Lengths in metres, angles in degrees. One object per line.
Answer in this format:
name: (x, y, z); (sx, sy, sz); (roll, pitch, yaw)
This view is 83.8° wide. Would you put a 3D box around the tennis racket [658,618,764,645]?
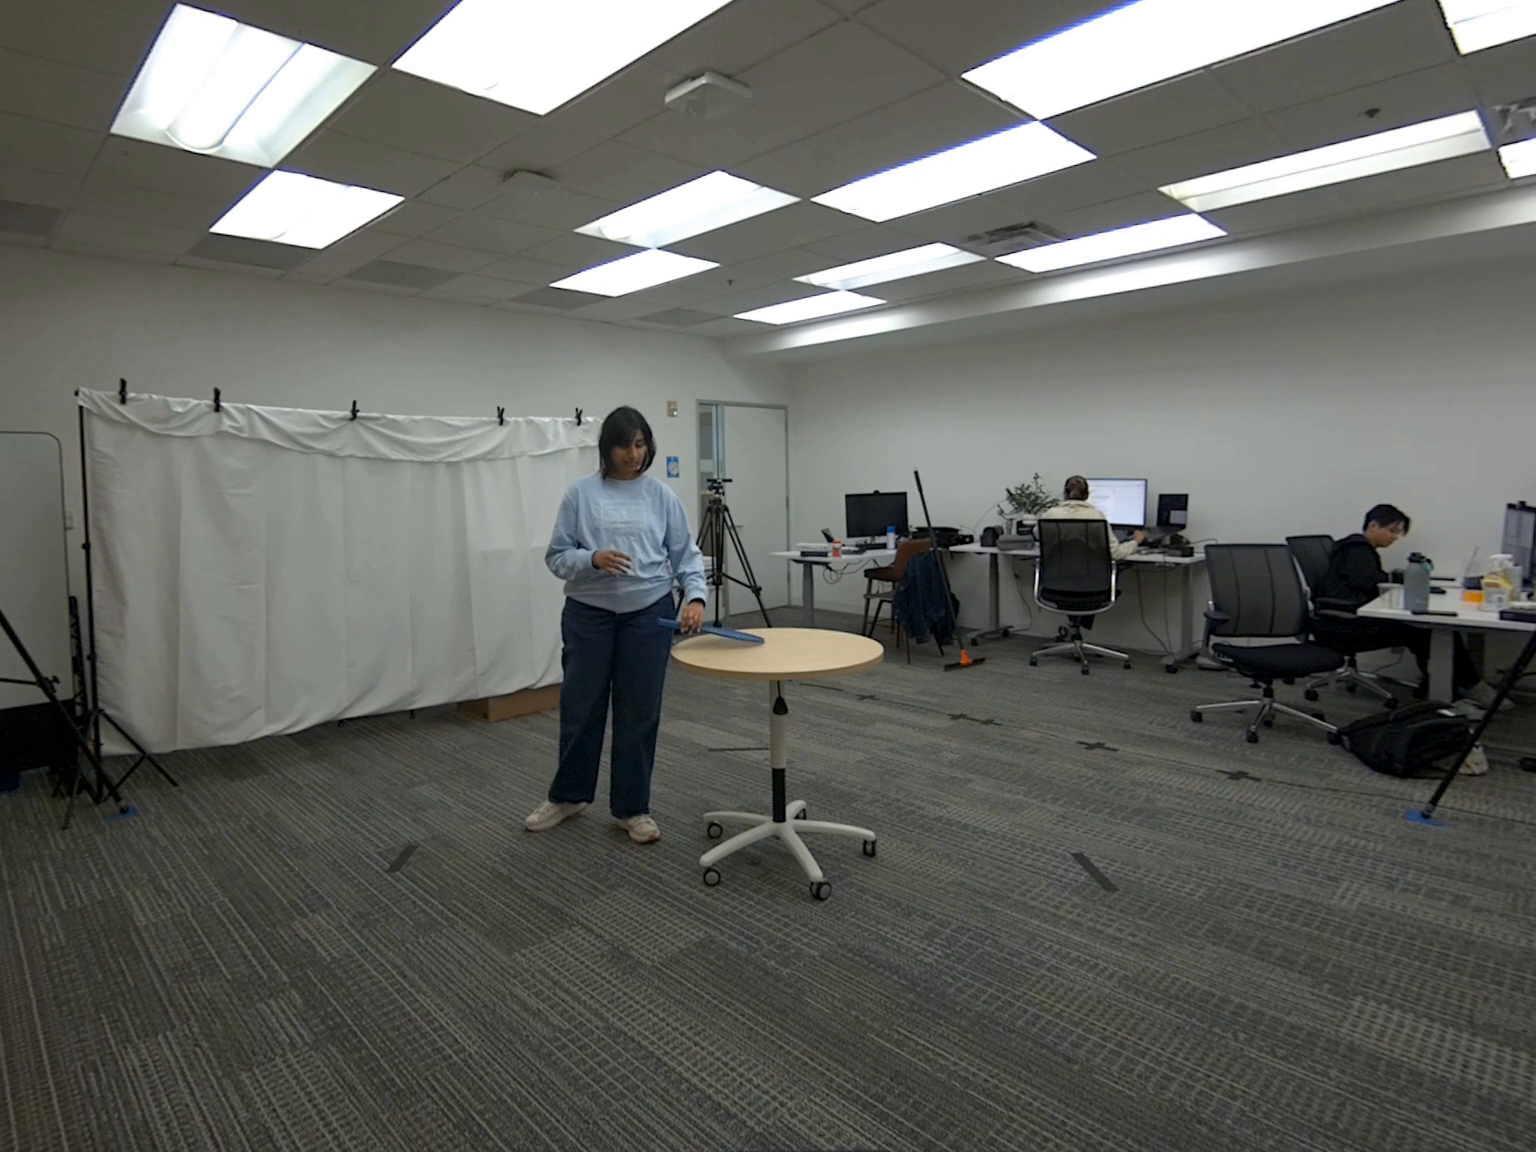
tennis racket: (-0.210, 0.200, 3.163); (0.423, 0.032, 0.218); (11, -2, -23)
